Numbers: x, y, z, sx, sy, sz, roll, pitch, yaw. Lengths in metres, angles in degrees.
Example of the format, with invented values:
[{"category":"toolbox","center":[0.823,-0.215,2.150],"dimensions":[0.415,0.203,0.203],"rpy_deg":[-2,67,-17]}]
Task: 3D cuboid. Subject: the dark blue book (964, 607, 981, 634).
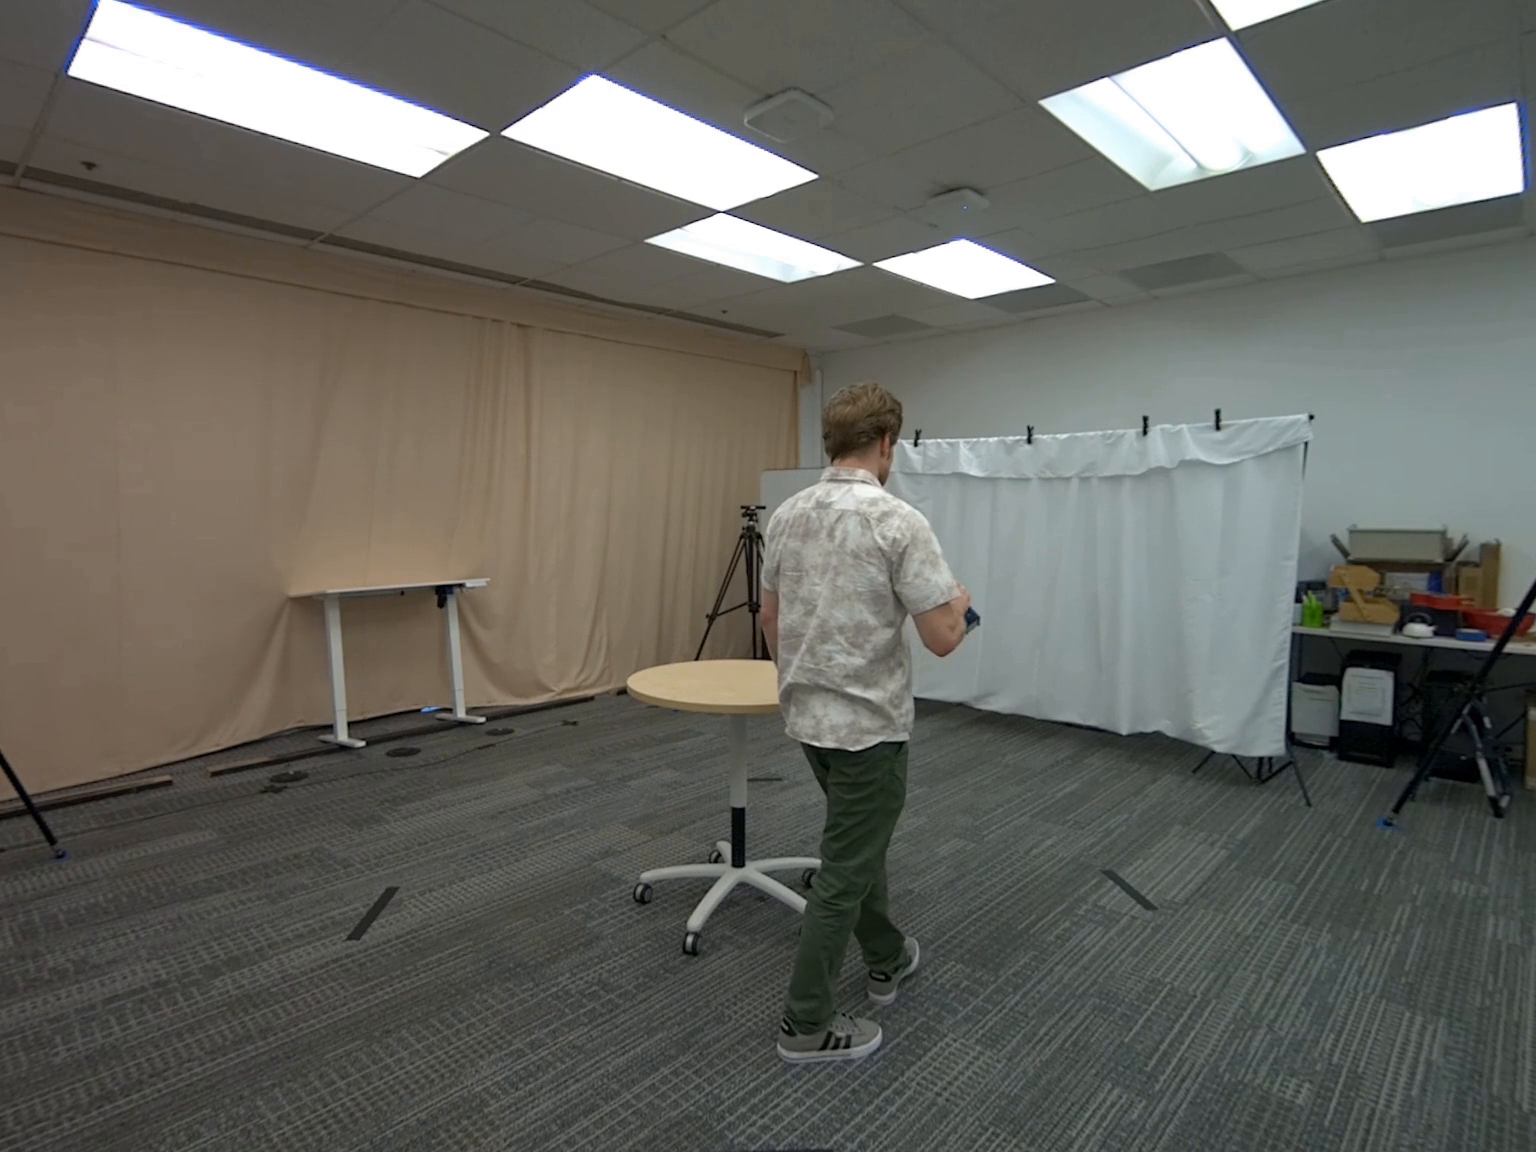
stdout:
[{"category":"dark blue book","center":[0.512,0.051,2.353],"dimensions":[0.045,0.250,0.160],"rpy_deg":[-39,-18,2]}]
